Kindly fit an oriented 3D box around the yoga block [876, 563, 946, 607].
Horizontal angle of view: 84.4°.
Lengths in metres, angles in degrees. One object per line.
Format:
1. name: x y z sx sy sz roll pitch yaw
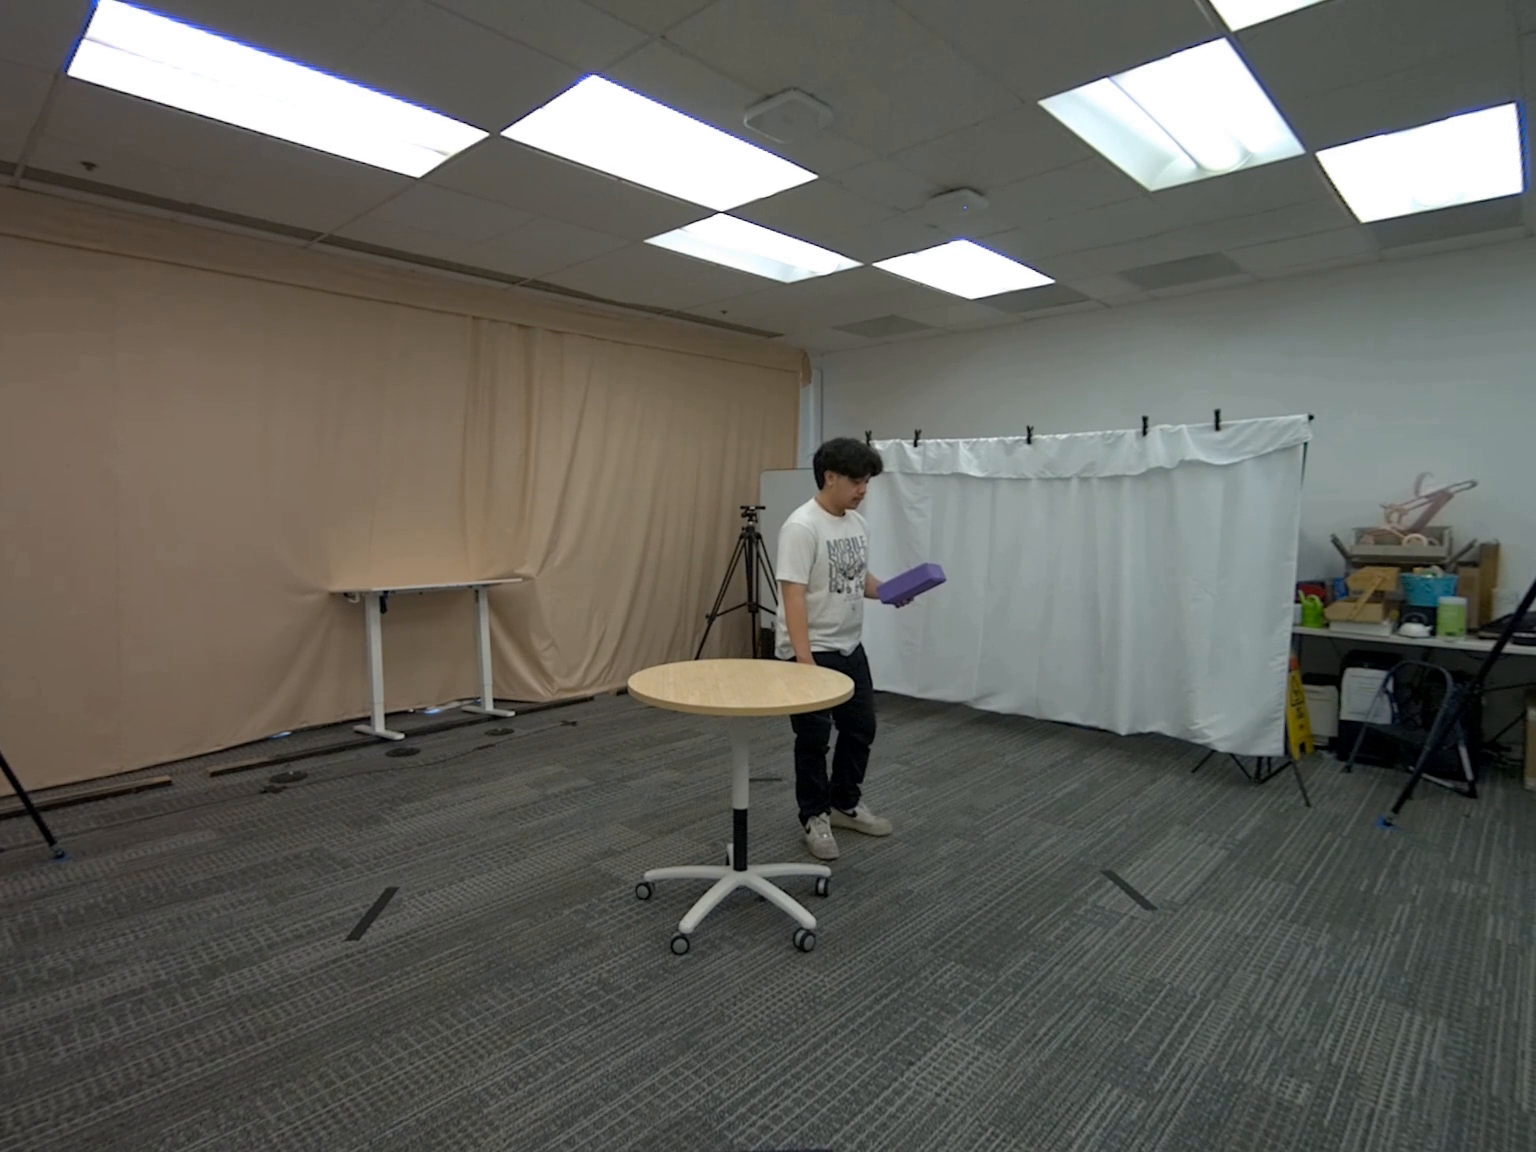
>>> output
1. yoga block: 0.549 0.030 3.222 0.233 0.077 0.144 -28 -18 28
